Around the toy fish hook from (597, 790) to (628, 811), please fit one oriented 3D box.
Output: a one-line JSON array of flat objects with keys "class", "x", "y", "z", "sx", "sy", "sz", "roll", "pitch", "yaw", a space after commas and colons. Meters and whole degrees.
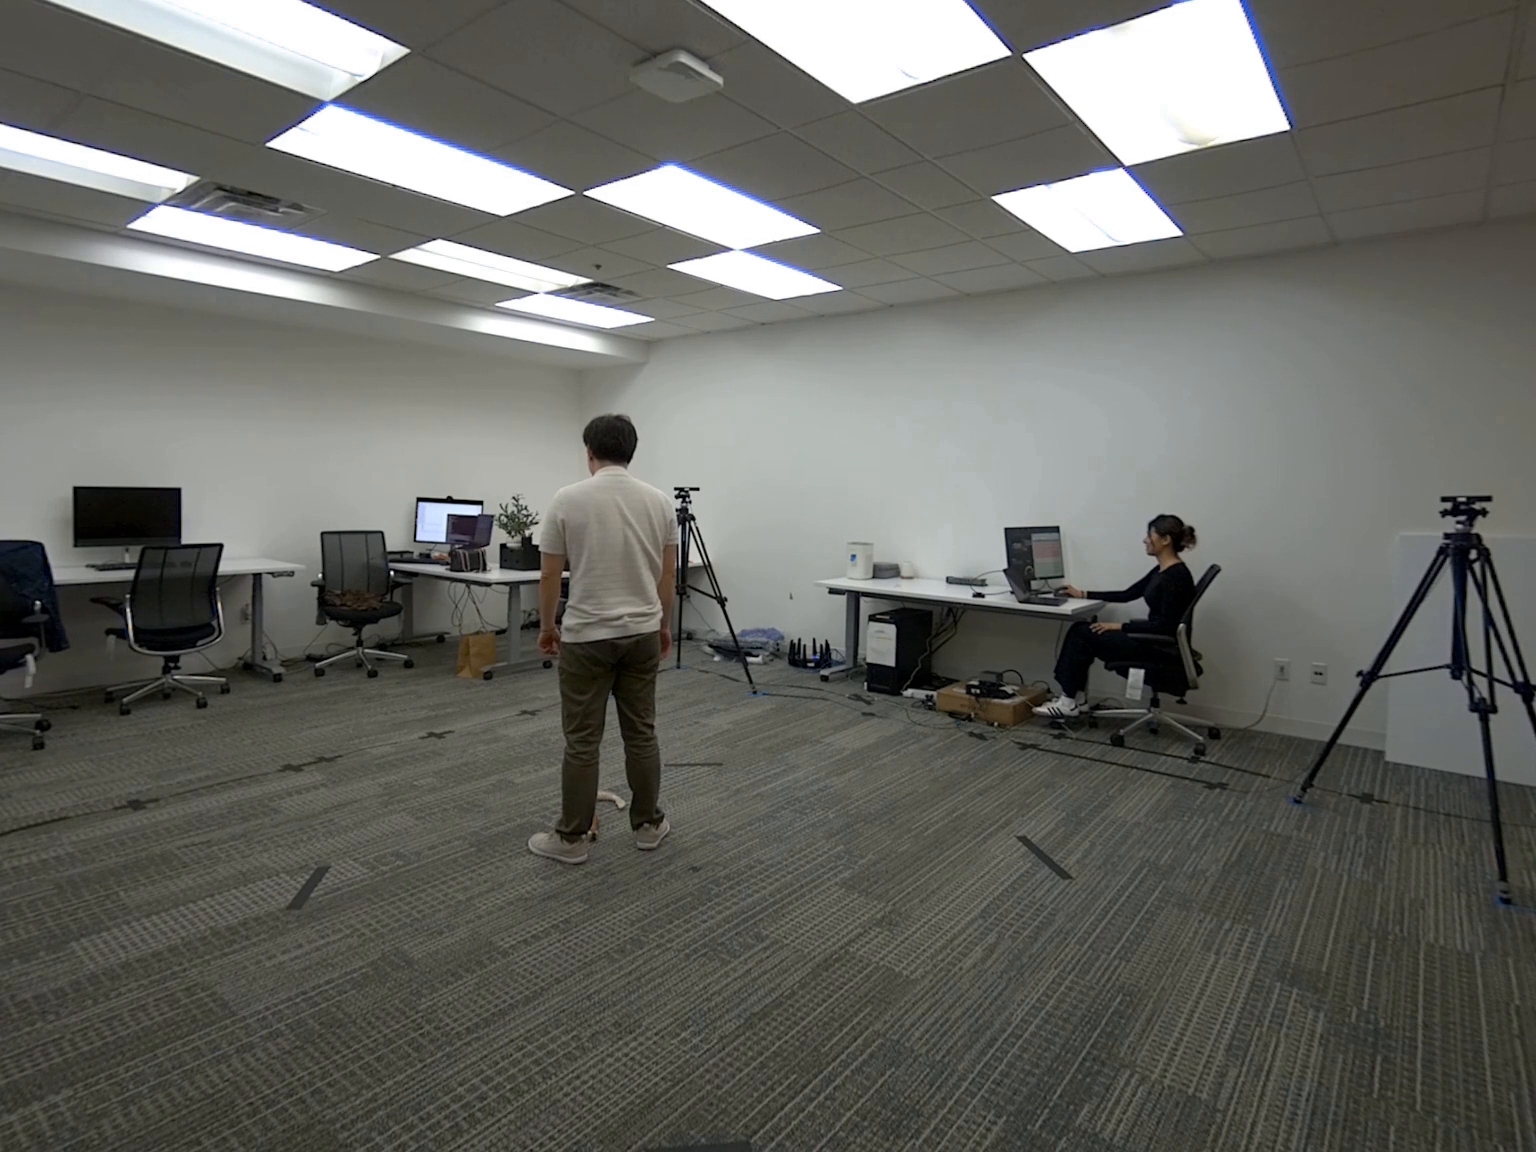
[{"class": "toy fish hook", "x": -0.708, "y": 0.986, "z": 3.571, "sx": 0.221, "sy": 0.048, "sz": 0.516, "roll": -2, "pitch": 7, "yaw": -14}]
